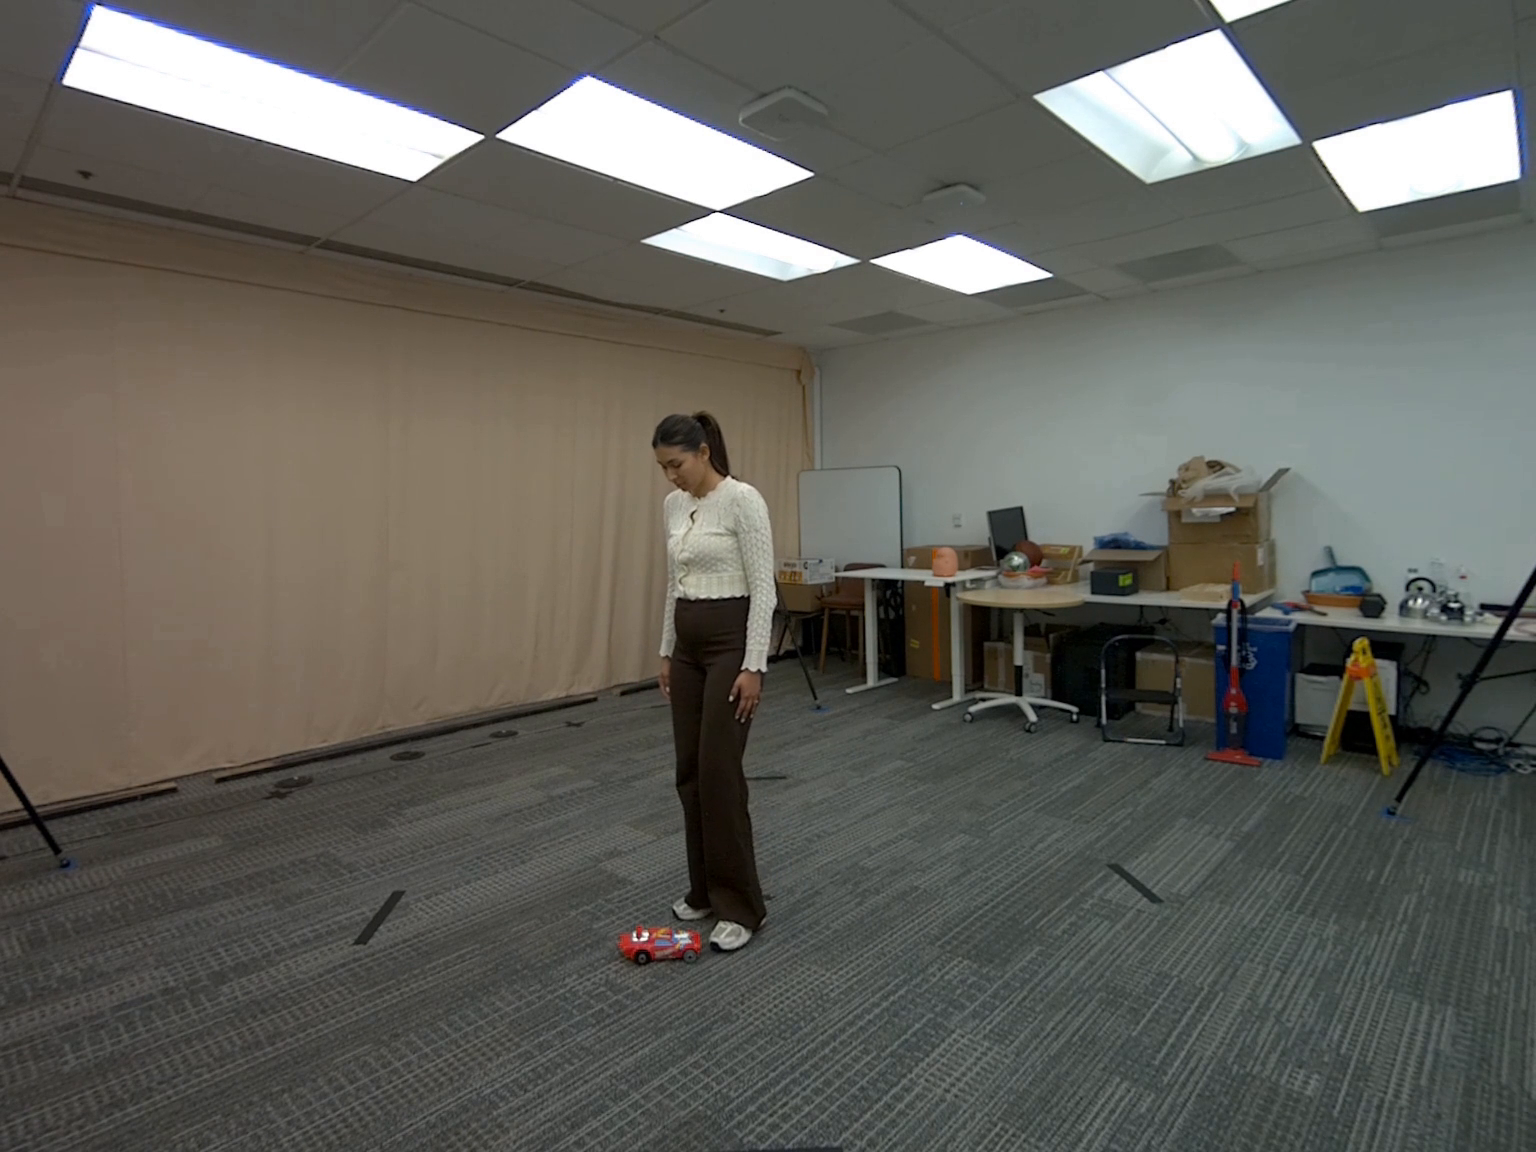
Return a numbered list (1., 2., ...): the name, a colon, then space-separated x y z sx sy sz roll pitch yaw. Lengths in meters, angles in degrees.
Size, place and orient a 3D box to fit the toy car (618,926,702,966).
1. toy car: -0.338 1.145 2.611 0.253 0.083 0.131 10 4 -4
